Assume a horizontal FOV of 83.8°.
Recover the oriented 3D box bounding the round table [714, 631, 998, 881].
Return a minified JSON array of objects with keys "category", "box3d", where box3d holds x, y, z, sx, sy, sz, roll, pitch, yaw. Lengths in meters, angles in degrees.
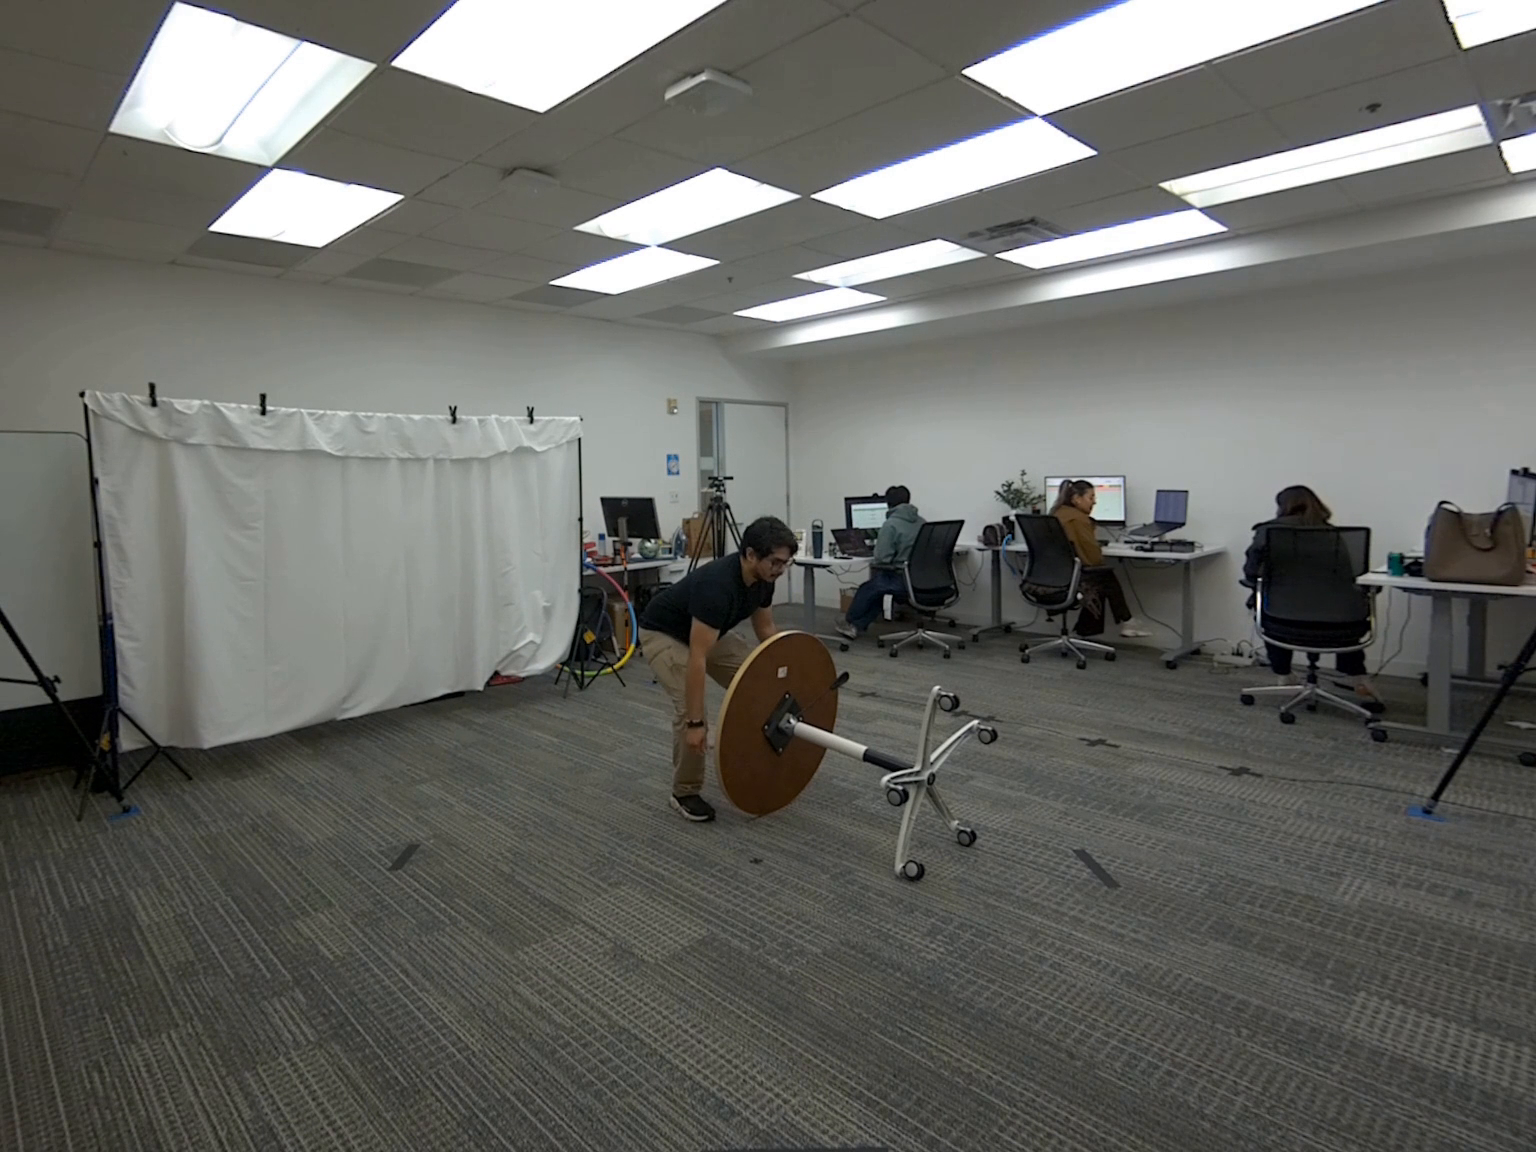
[{"category":"round table","box3d":[0.341,0.676,3.265,0.813,0.779,0.765,13,13,41]}]
